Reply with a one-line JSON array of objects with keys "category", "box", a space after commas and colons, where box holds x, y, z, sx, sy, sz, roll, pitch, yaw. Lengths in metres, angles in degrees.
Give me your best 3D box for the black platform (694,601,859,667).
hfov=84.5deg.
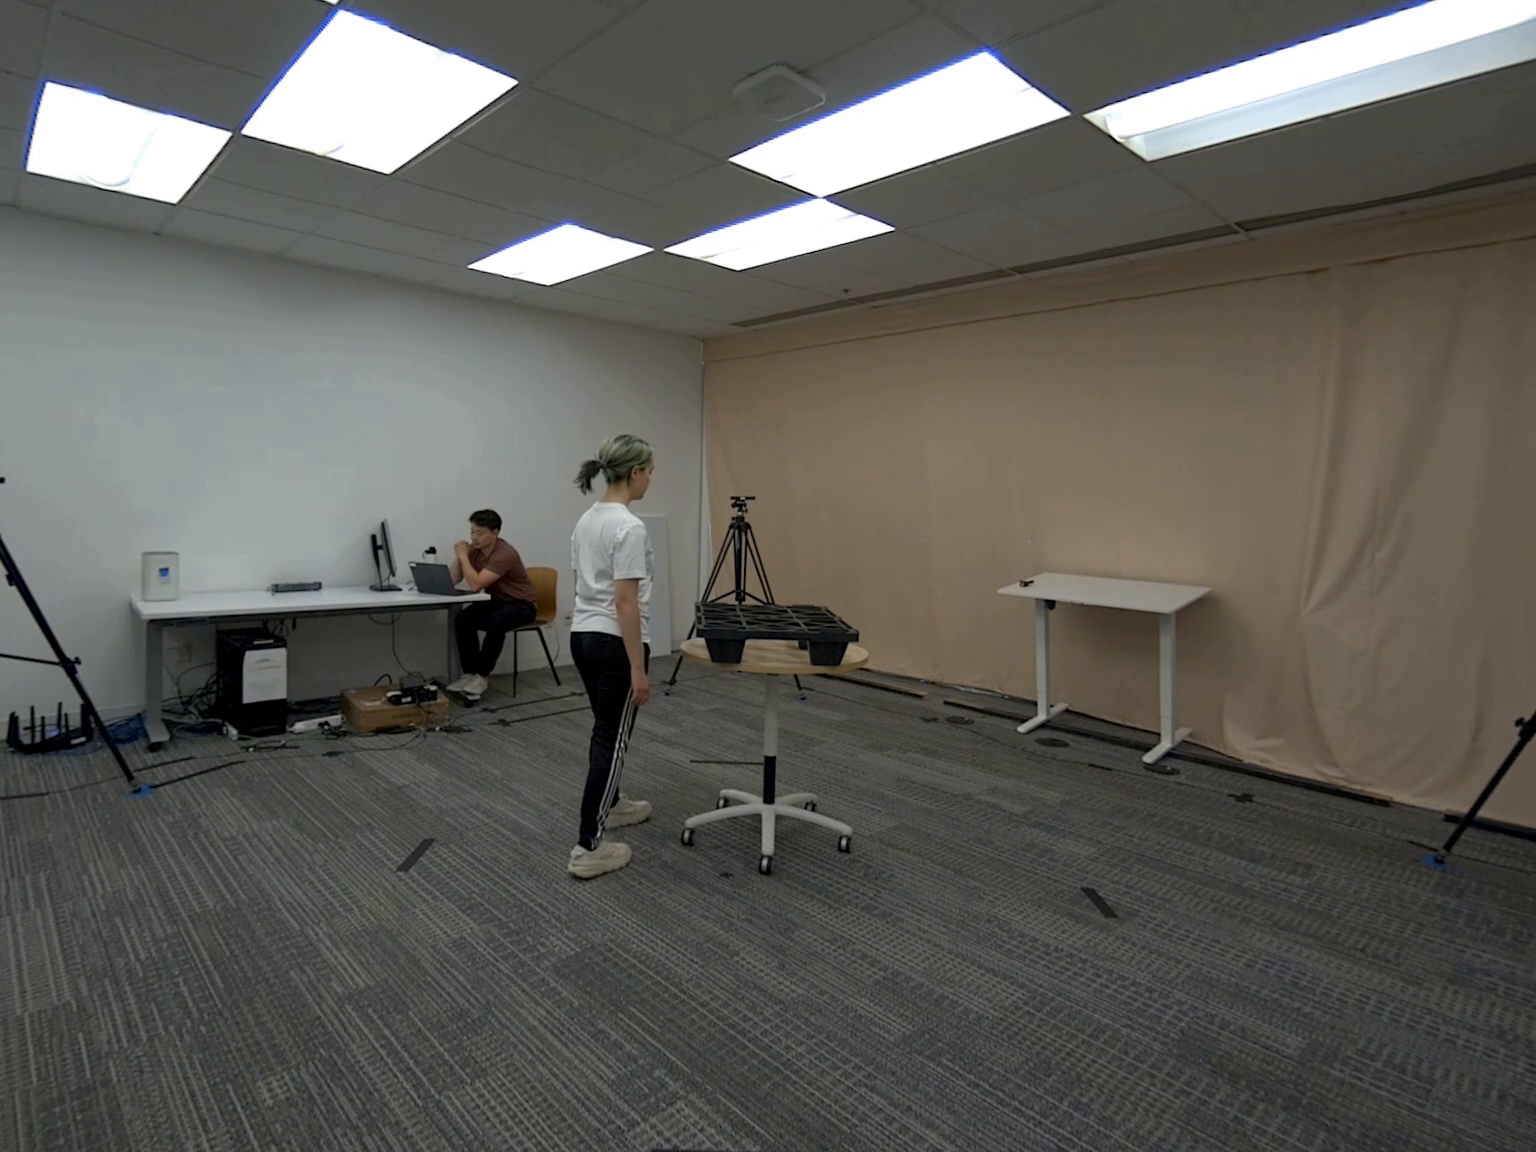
[{"category": "black platform", "box": [-0.007, 0.227, 3.450, 0.603, 0.143, 0.810, 2, 4, -5]}]
